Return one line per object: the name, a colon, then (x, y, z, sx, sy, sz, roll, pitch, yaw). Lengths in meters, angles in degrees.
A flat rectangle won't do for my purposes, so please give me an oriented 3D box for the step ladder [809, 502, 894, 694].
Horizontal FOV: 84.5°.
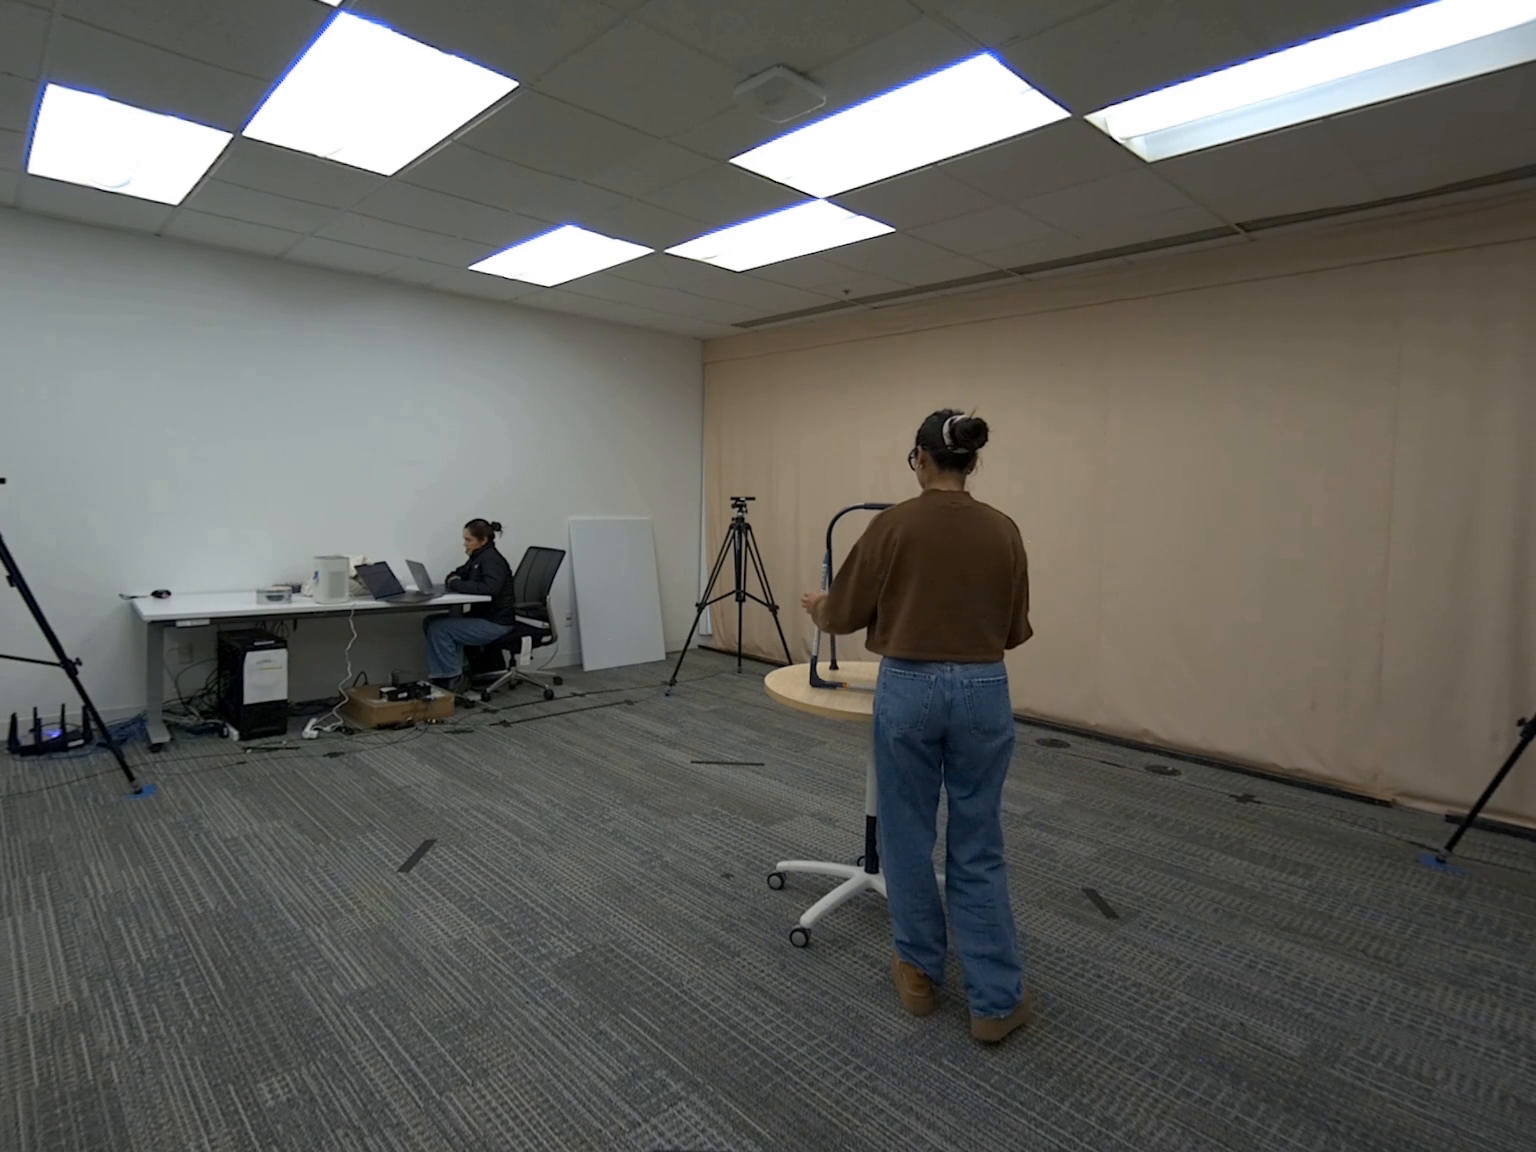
step ladder: (0.395, 0.067, 2.812, 0.437, 0.605, 0.344, 4, 4, 20)
